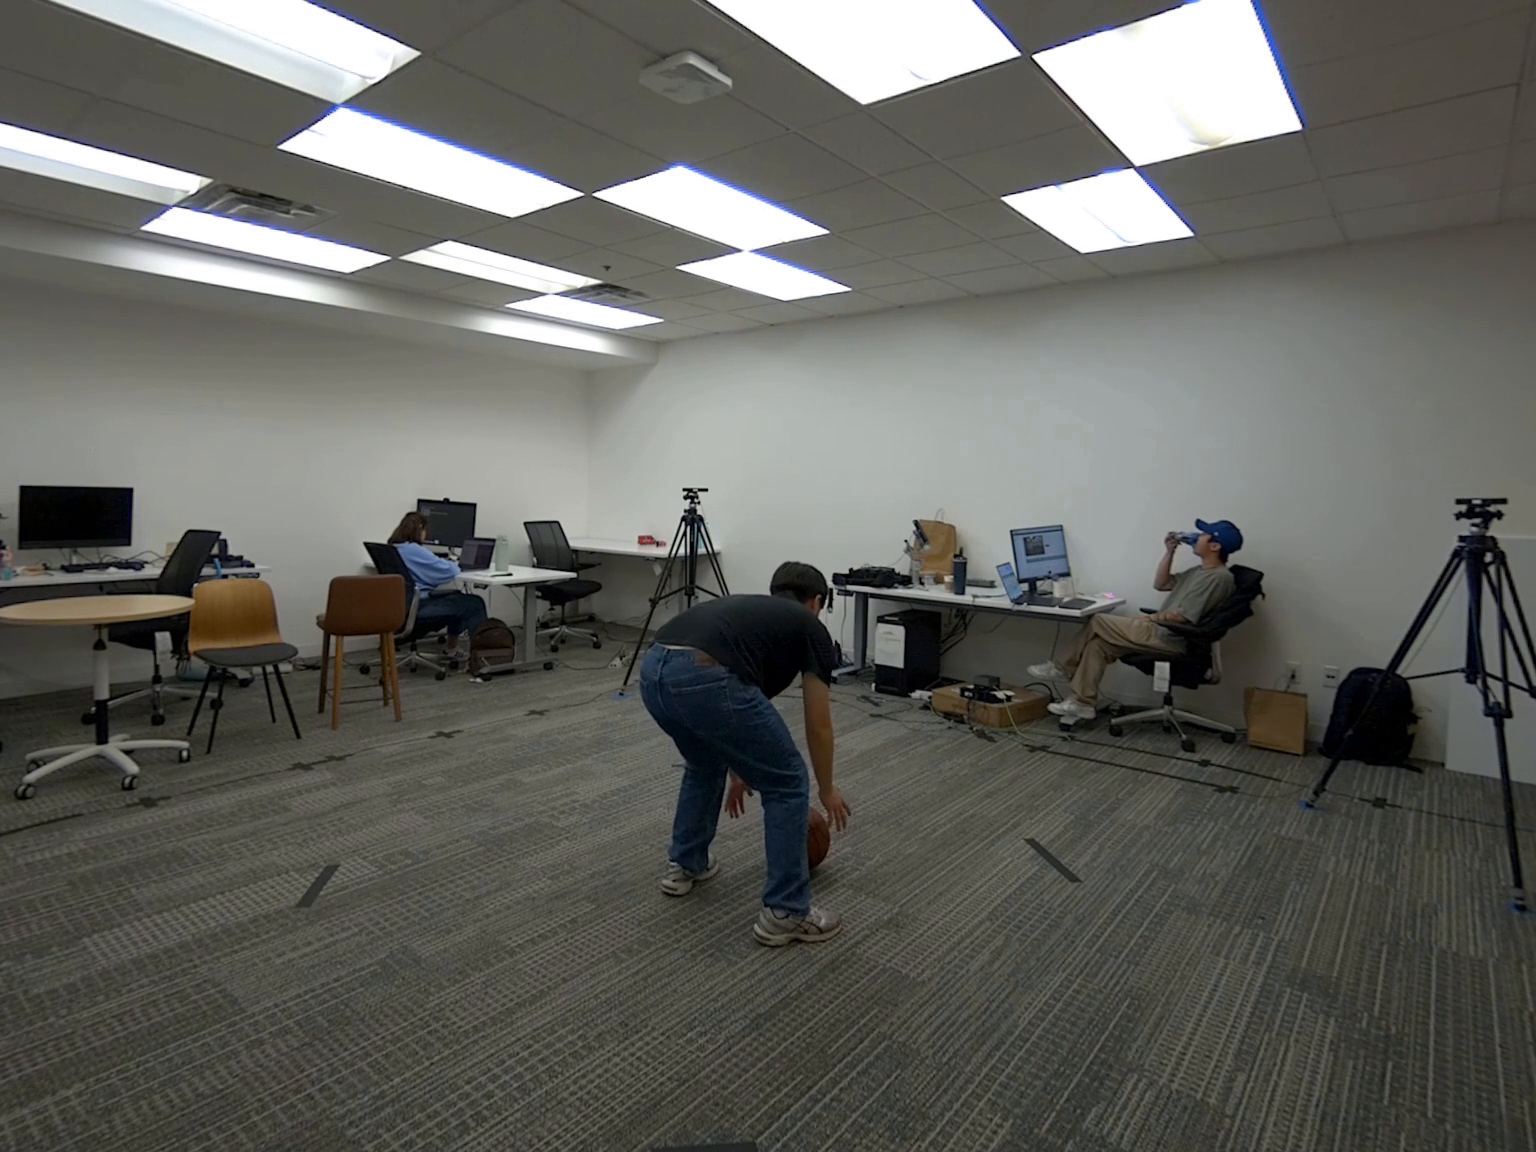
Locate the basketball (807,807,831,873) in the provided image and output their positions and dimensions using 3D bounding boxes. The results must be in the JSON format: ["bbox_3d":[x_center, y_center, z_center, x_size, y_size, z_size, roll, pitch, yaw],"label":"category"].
[{"bbox_3d":[0.104,0.951,3.117,0.235,0.235,0.237,1,4,-2],"label":"basketball"}]
